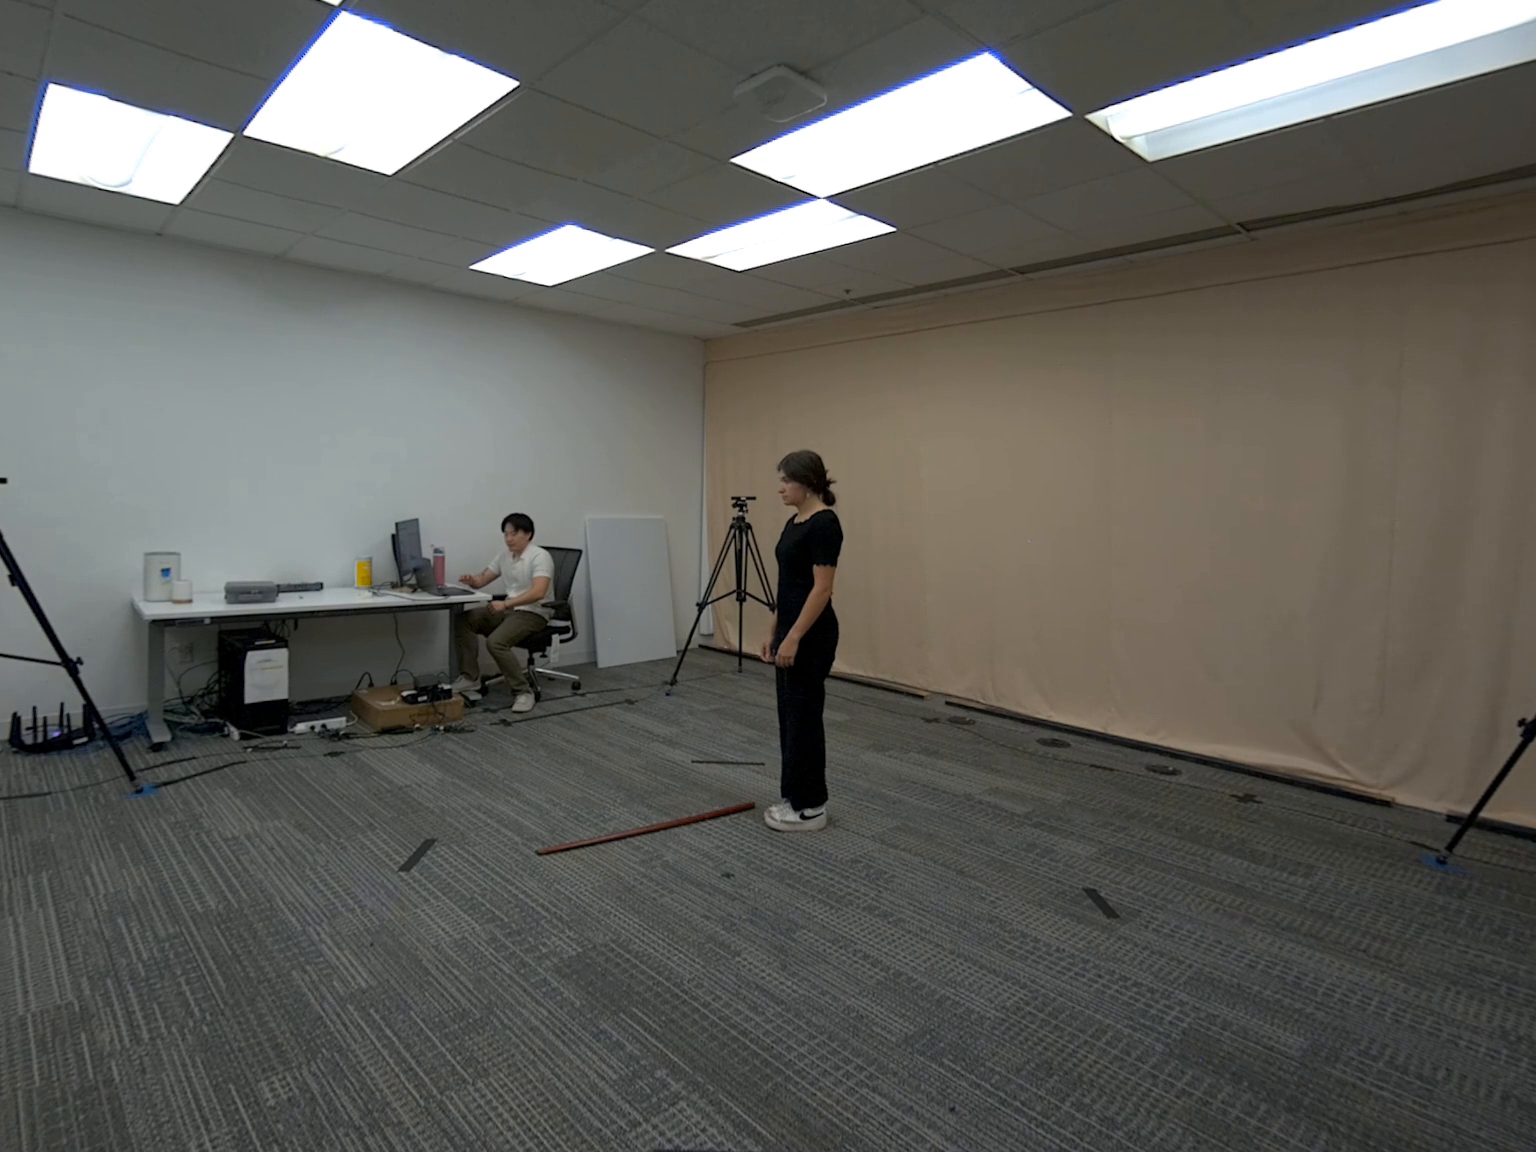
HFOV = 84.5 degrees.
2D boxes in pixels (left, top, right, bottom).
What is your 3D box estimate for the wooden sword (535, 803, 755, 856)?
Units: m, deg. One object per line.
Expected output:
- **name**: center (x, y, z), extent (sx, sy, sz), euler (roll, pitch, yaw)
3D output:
- **wooden sword**: center (-0.471, 1.041, 3.511), extent (1.003, 0.024, 0.052), euler (-2, 3, -34)
